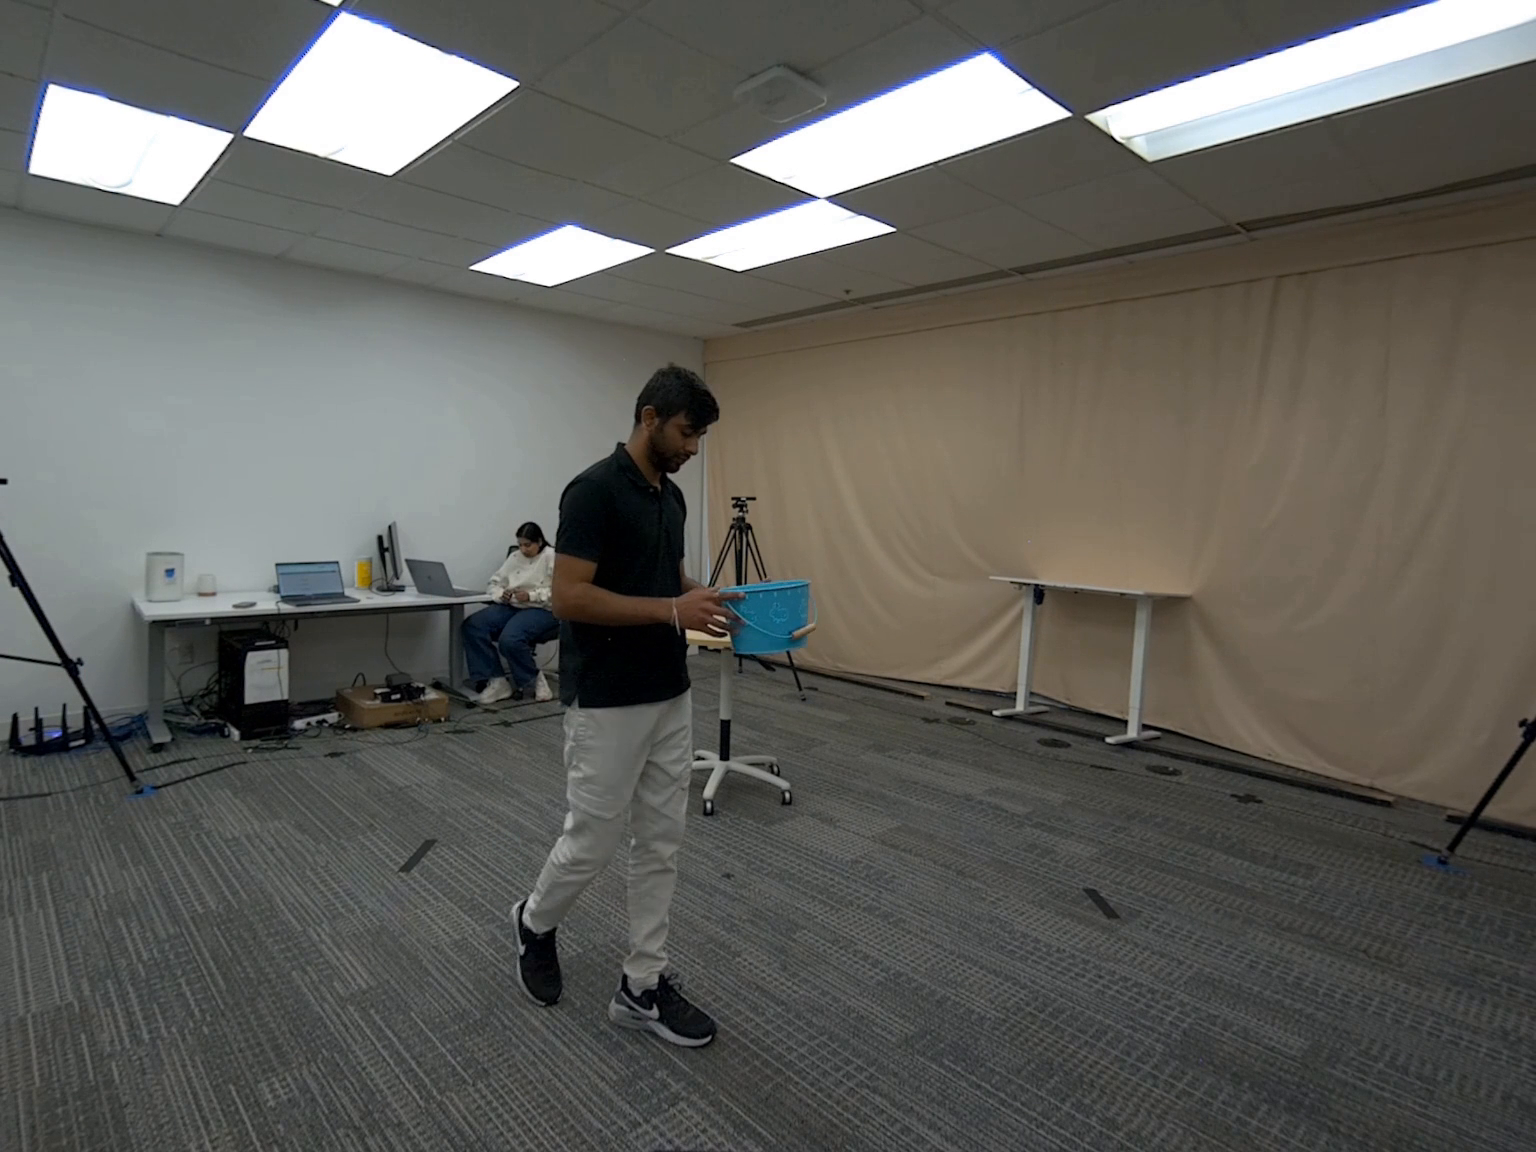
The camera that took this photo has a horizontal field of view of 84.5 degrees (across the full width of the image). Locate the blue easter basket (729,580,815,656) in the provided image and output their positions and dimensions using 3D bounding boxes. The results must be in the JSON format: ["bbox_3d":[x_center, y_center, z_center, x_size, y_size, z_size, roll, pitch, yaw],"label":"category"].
[{"bbox_3d":[-0.035,0.109,2.009,0.243,0.156,0.244,-4,1,-1],"label":"blue easter basket"}]
